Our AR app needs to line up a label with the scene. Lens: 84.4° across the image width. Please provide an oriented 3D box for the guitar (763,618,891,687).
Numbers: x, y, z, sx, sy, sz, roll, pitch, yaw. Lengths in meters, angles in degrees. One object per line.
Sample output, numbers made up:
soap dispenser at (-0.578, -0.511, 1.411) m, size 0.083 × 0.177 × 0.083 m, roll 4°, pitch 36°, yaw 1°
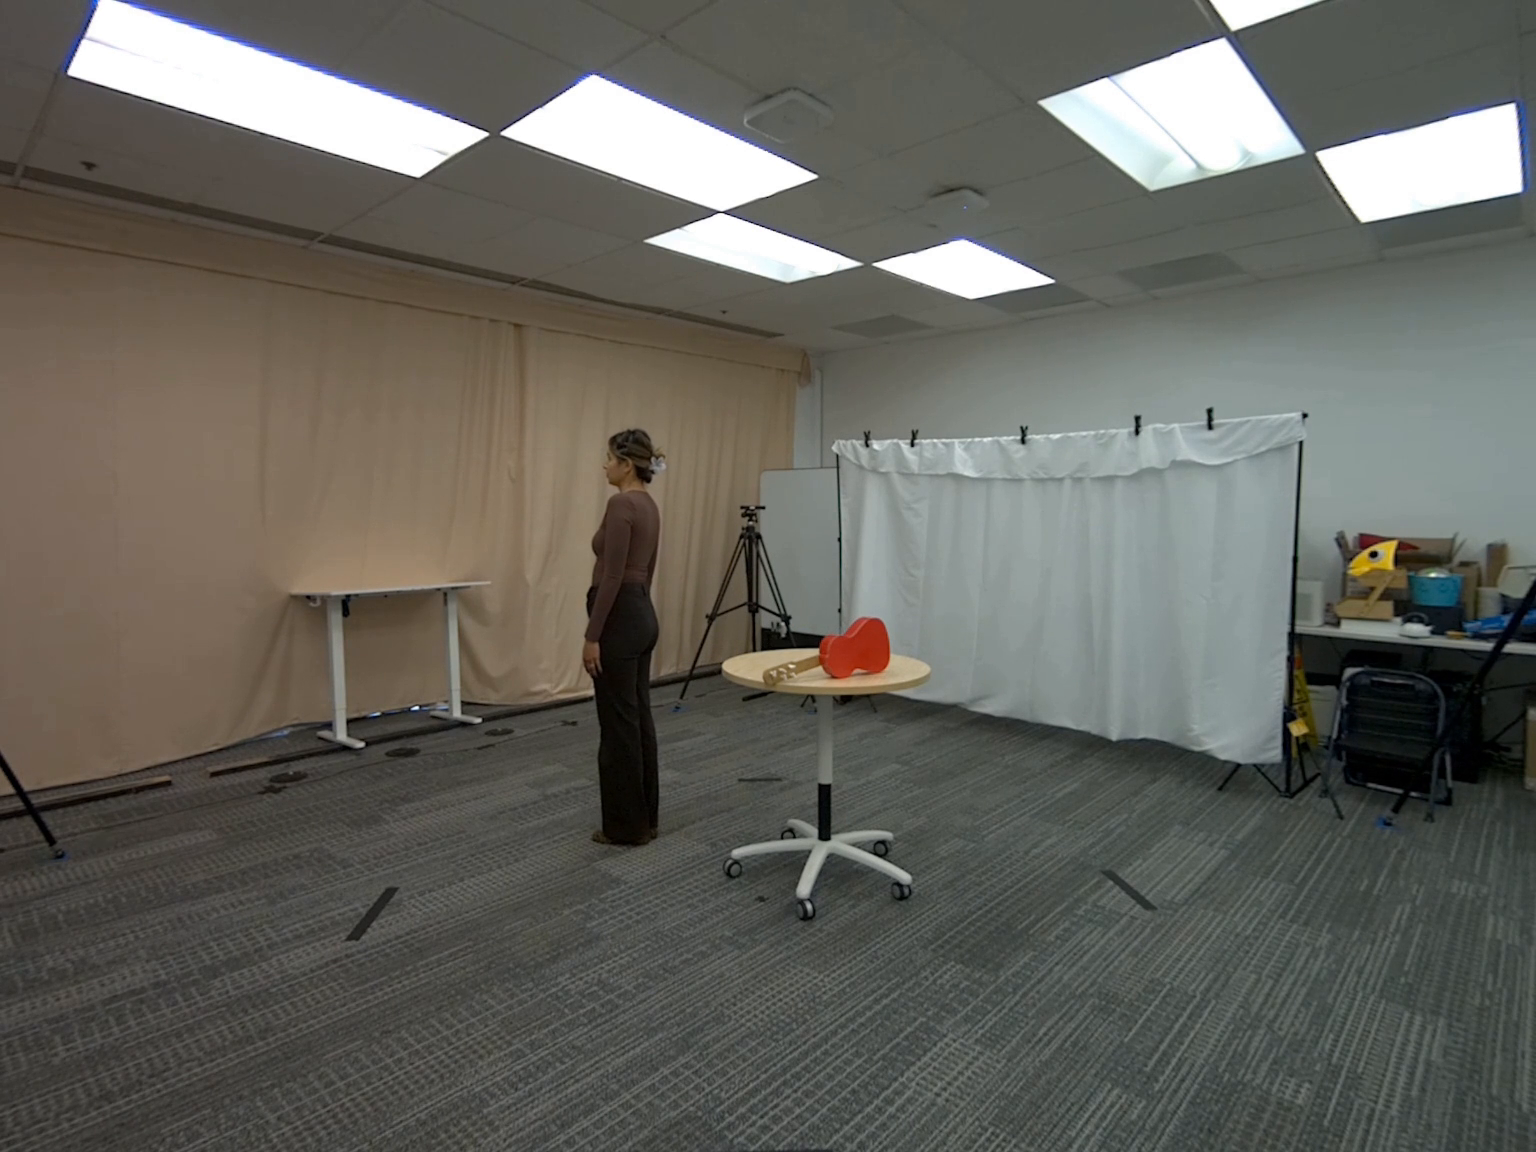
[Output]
guitar at (0.221, 0.312, 2.899) m, size 0.489 × 0.191 × 0.072 m, roll -24°, pitch 12°, yaw -27°
